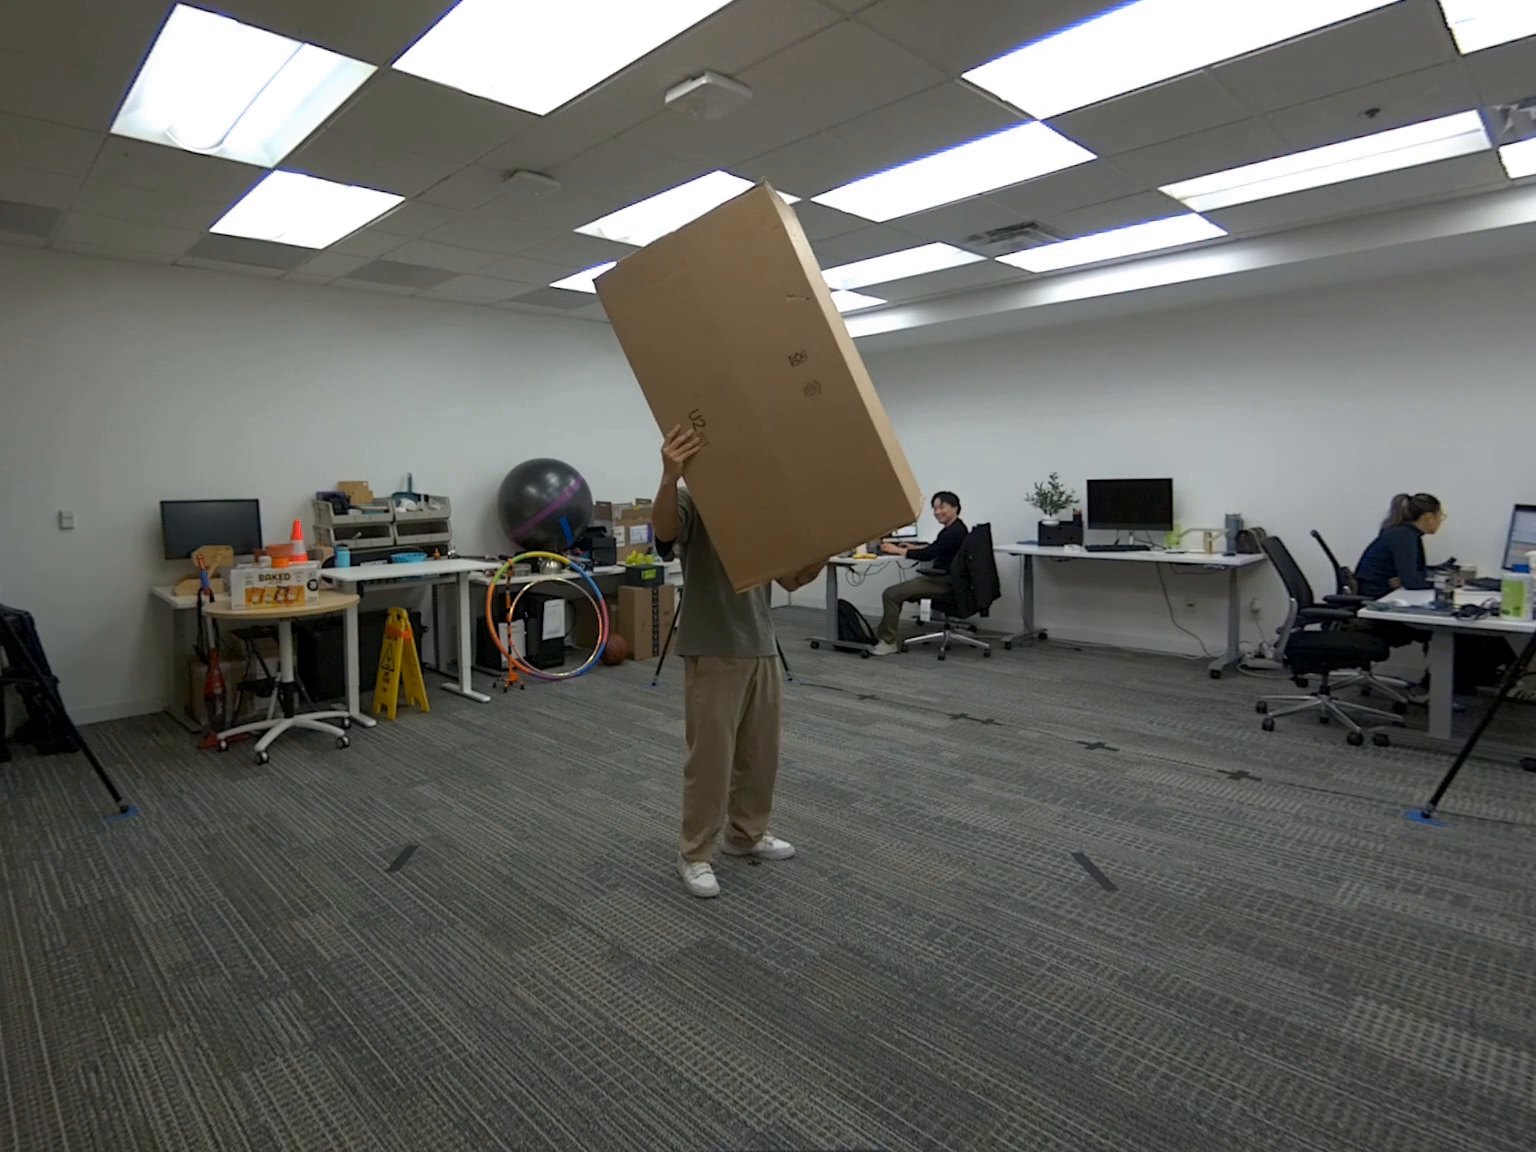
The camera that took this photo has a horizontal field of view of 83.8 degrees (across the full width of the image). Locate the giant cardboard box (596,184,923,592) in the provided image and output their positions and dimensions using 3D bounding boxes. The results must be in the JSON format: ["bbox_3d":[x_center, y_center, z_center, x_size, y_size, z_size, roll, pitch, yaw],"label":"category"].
[{"bbox_3d":[-0.005,-0.547,2.614,0.583,1.022,0.424,-23,4,18],"label":"giant cardboard box"}]
